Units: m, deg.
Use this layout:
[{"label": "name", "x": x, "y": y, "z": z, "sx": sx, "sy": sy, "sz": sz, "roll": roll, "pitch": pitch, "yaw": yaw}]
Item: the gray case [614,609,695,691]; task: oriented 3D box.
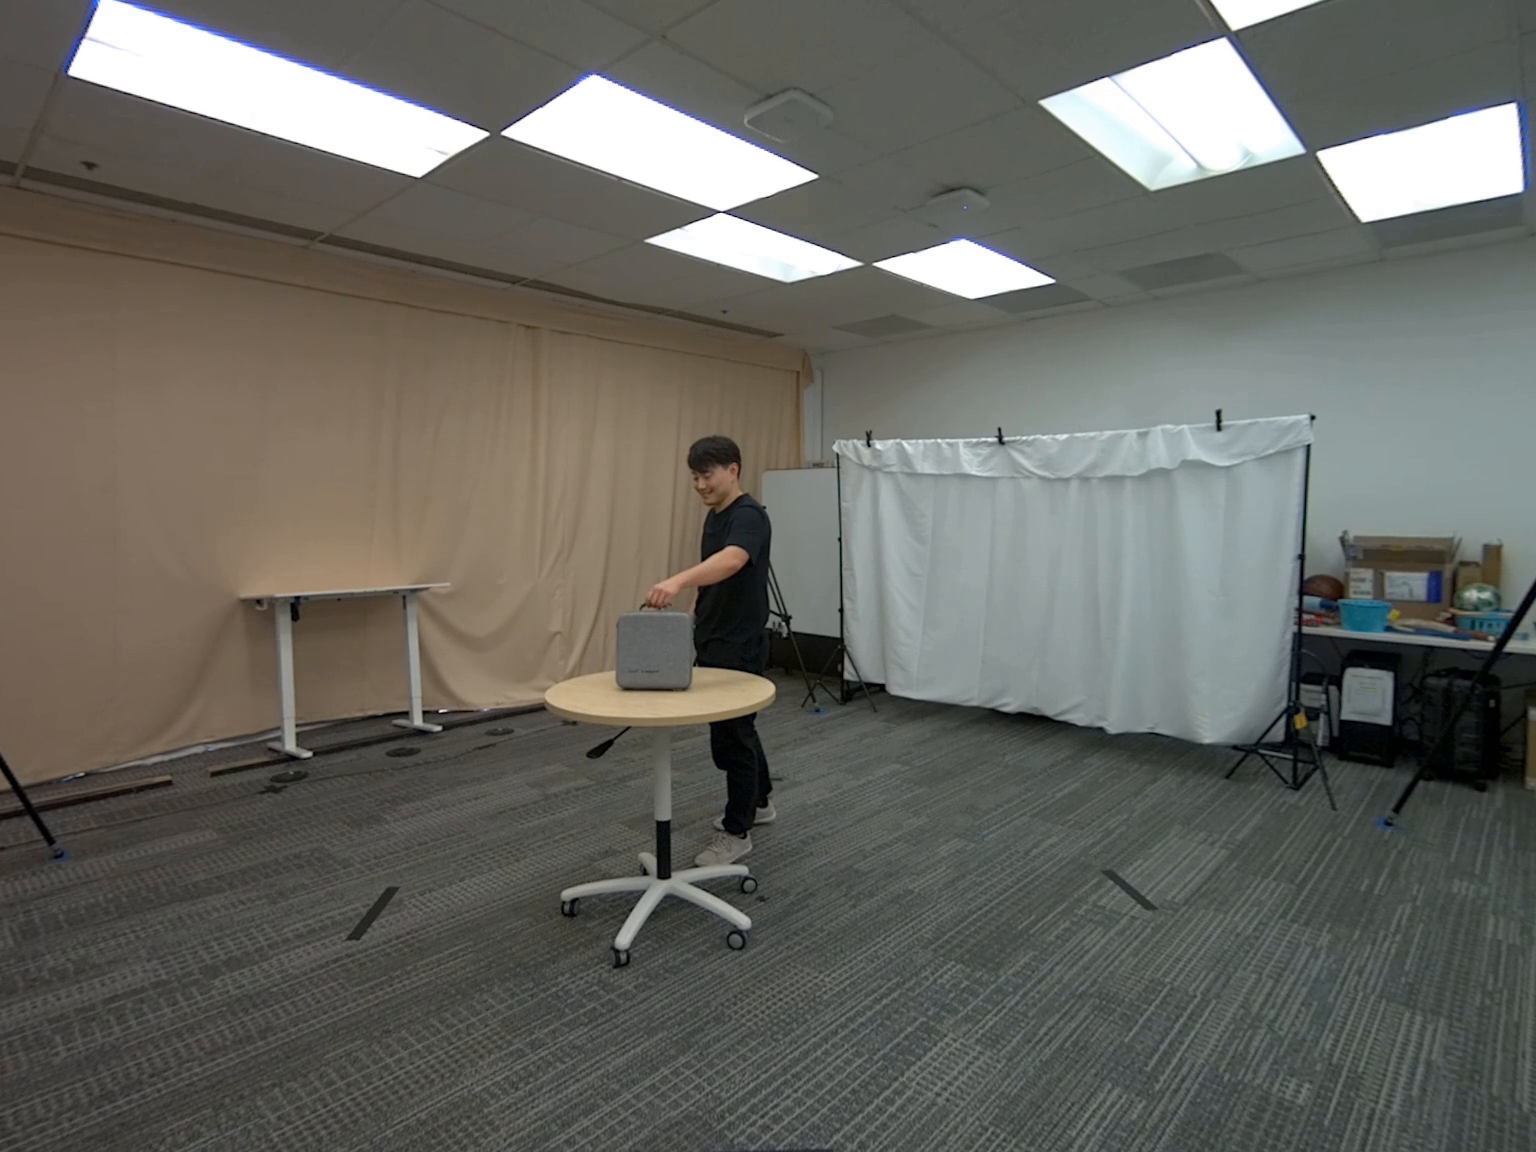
[{"label": "gray case", "x": -0.378, "y": 0.242, "z": 2.830, "sx": 0.259, "sy": 0.262, "sz": 0.103, "roll": 3, "pitch": -8, "yaw": 6}]
